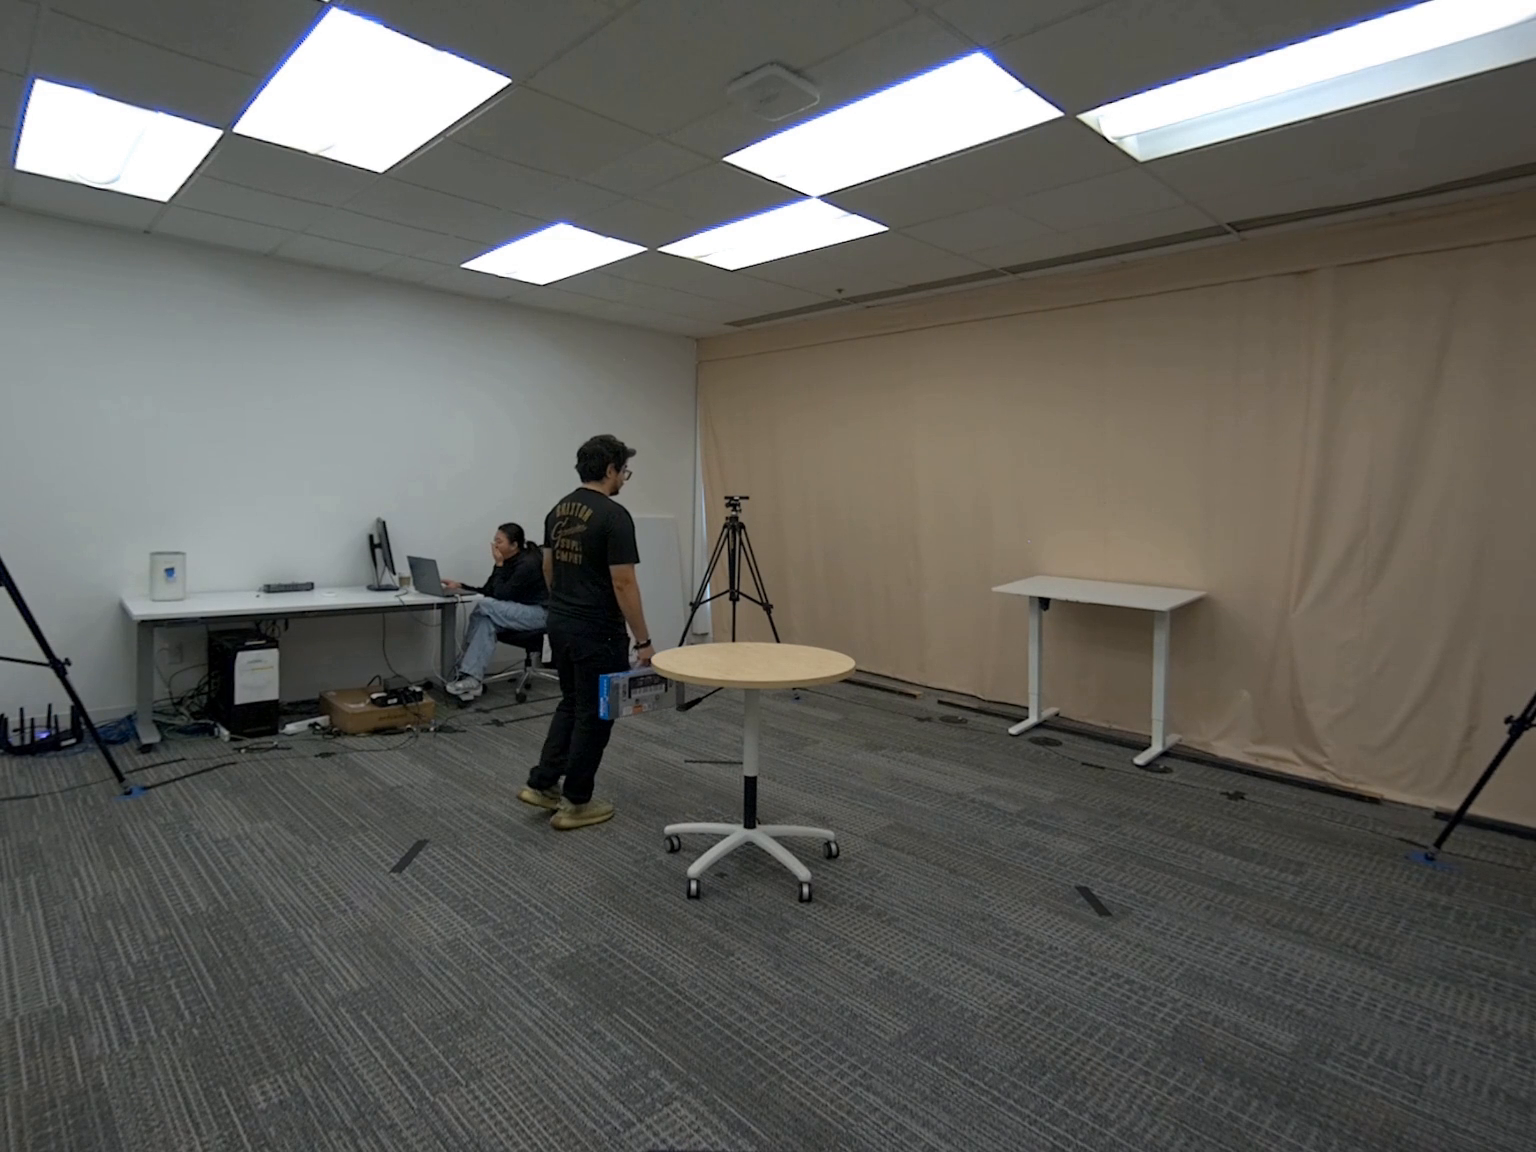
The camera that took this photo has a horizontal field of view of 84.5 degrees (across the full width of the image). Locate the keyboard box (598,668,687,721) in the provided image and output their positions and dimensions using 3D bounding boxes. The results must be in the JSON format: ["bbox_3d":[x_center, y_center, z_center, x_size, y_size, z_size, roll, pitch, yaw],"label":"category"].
[{"bbox_3d":[-0.525,0.475,3.480,0.060,0.176,0.427,0,1,39],"label":"keyboard box"}]
